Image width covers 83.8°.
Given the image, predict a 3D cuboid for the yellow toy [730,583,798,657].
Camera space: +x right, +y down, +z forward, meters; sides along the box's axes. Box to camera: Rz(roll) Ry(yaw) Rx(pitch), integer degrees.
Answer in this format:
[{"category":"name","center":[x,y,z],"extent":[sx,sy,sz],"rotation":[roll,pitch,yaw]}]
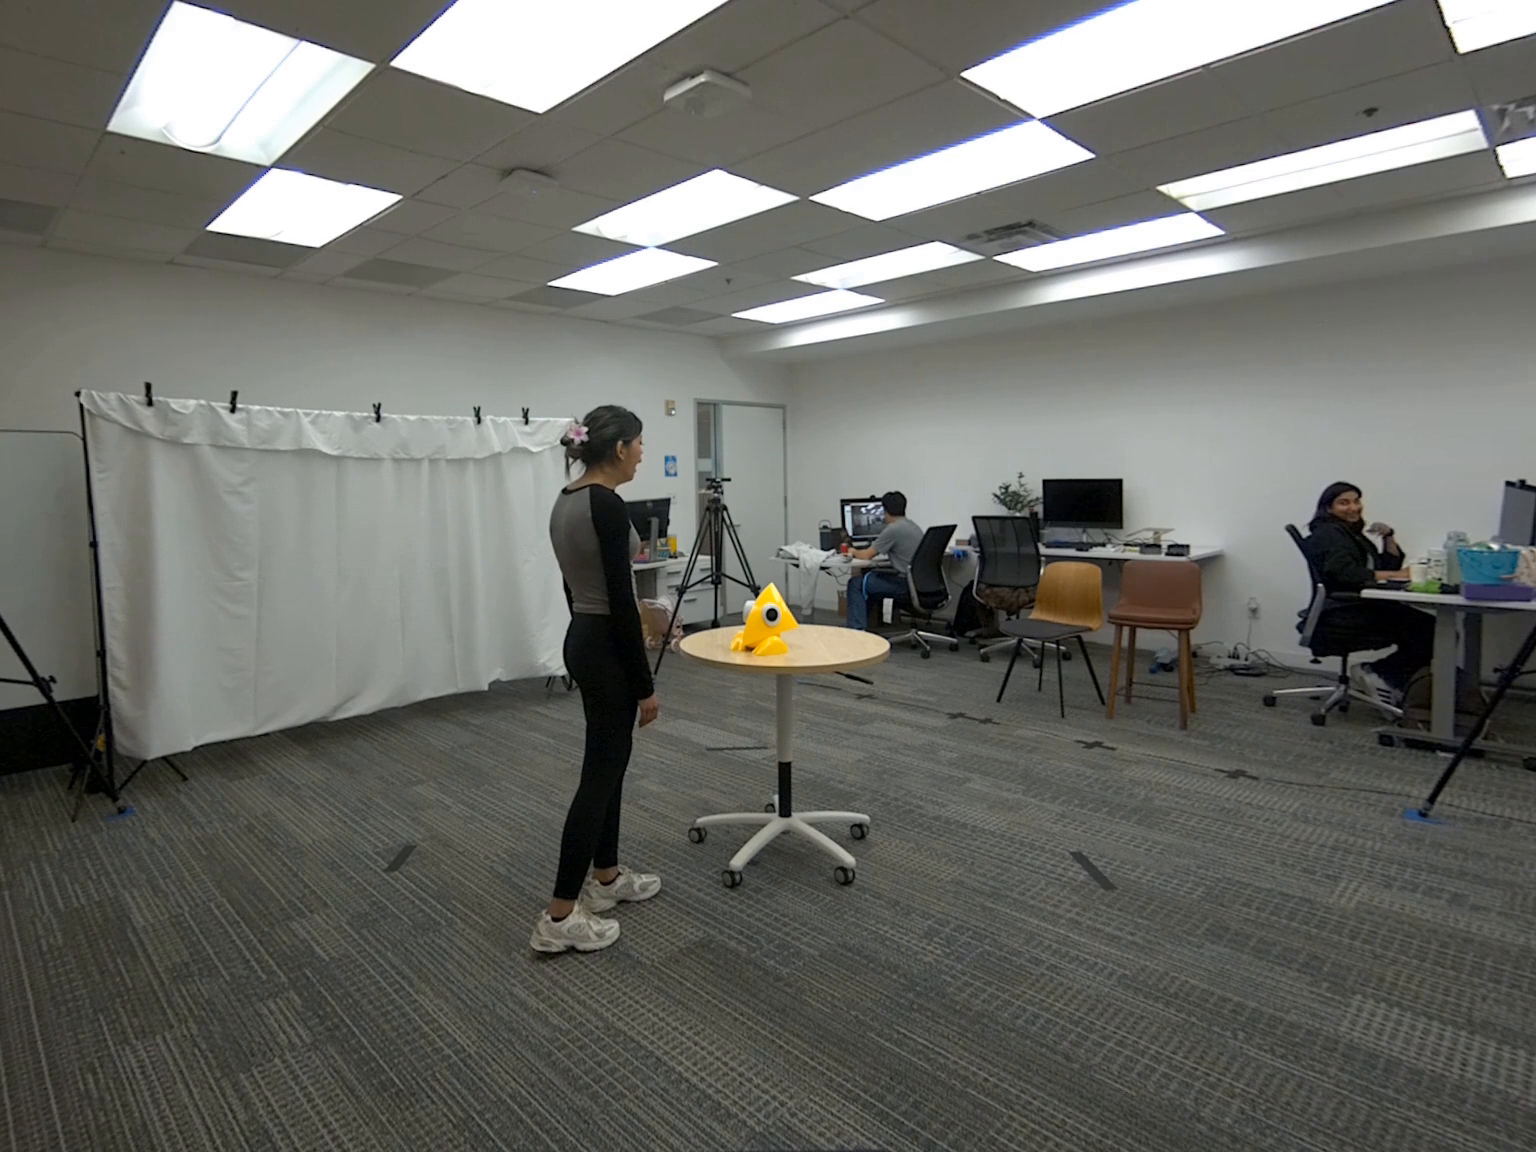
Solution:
[{"category":"yellow toy","center":[-0.023,0.144,3.021],"extent":[0.211,0.230,0.188],"rotation":[5,7,43]}]
